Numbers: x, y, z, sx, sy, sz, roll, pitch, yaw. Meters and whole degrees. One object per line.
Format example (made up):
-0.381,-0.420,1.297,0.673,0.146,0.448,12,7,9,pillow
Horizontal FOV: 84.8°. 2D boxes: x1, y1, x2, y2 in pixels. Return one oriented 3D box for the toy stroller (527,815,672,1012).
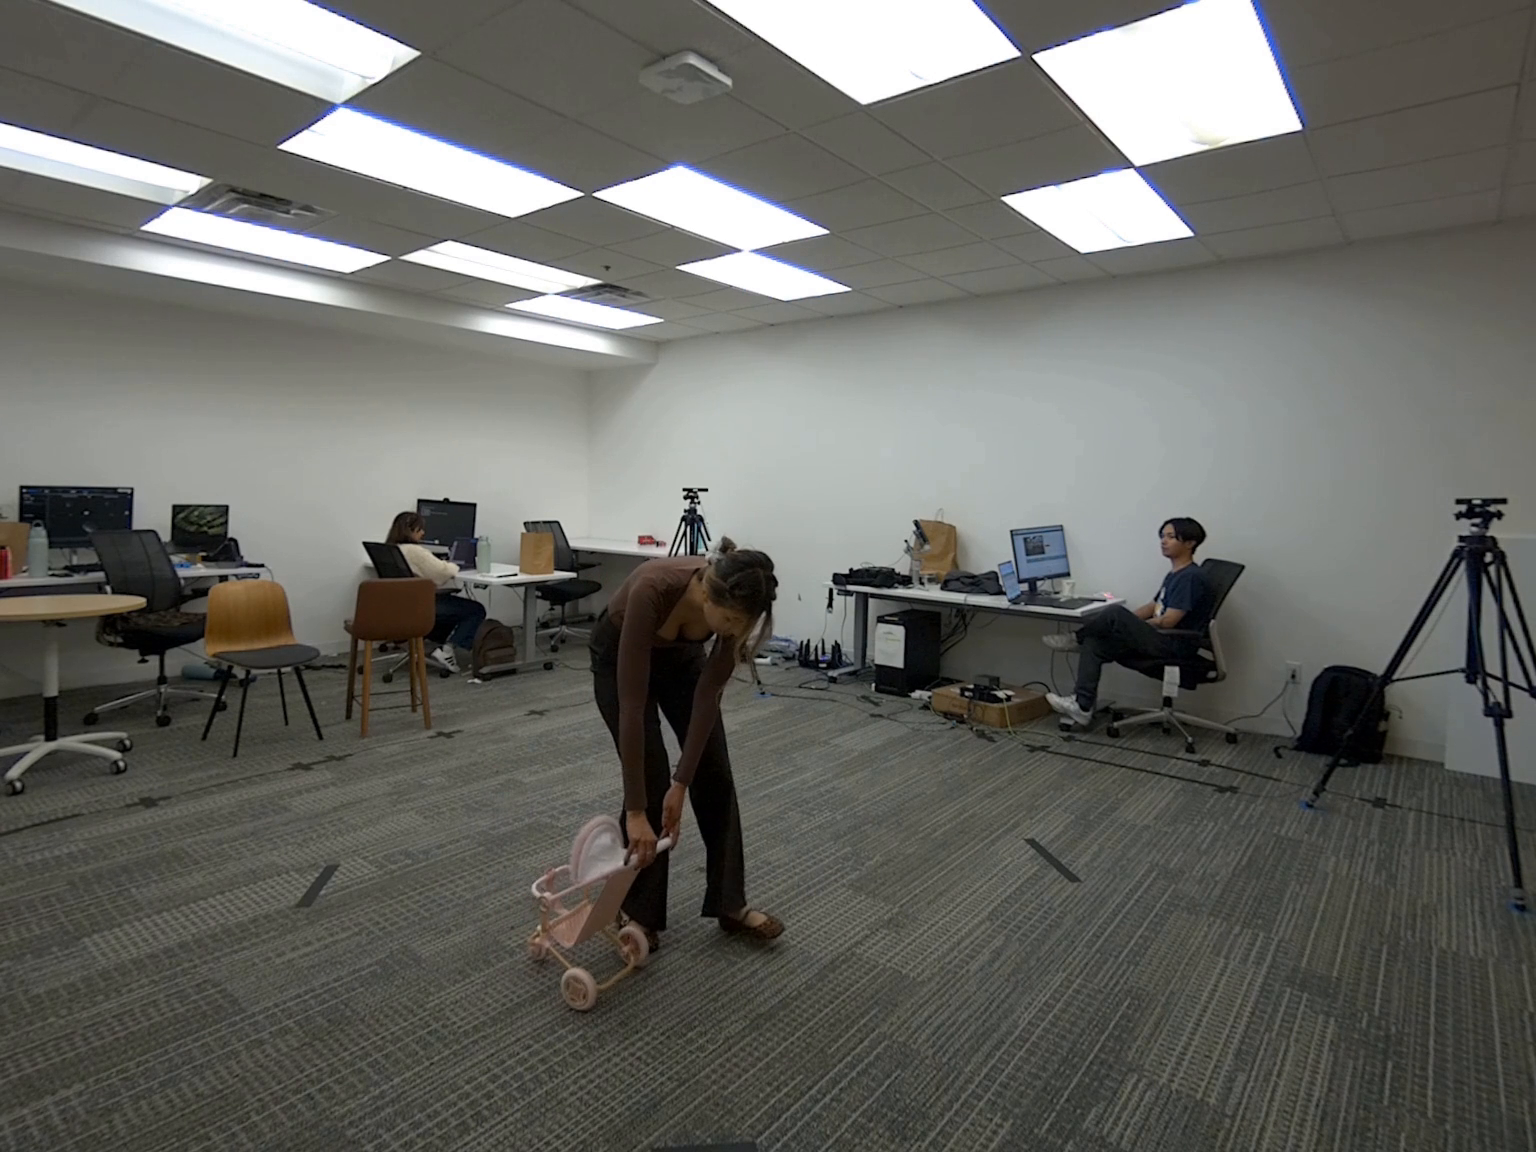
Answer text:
-0.508,0.912,2.389,0.353,0.531,0.273,22,12,30,toy stroller
